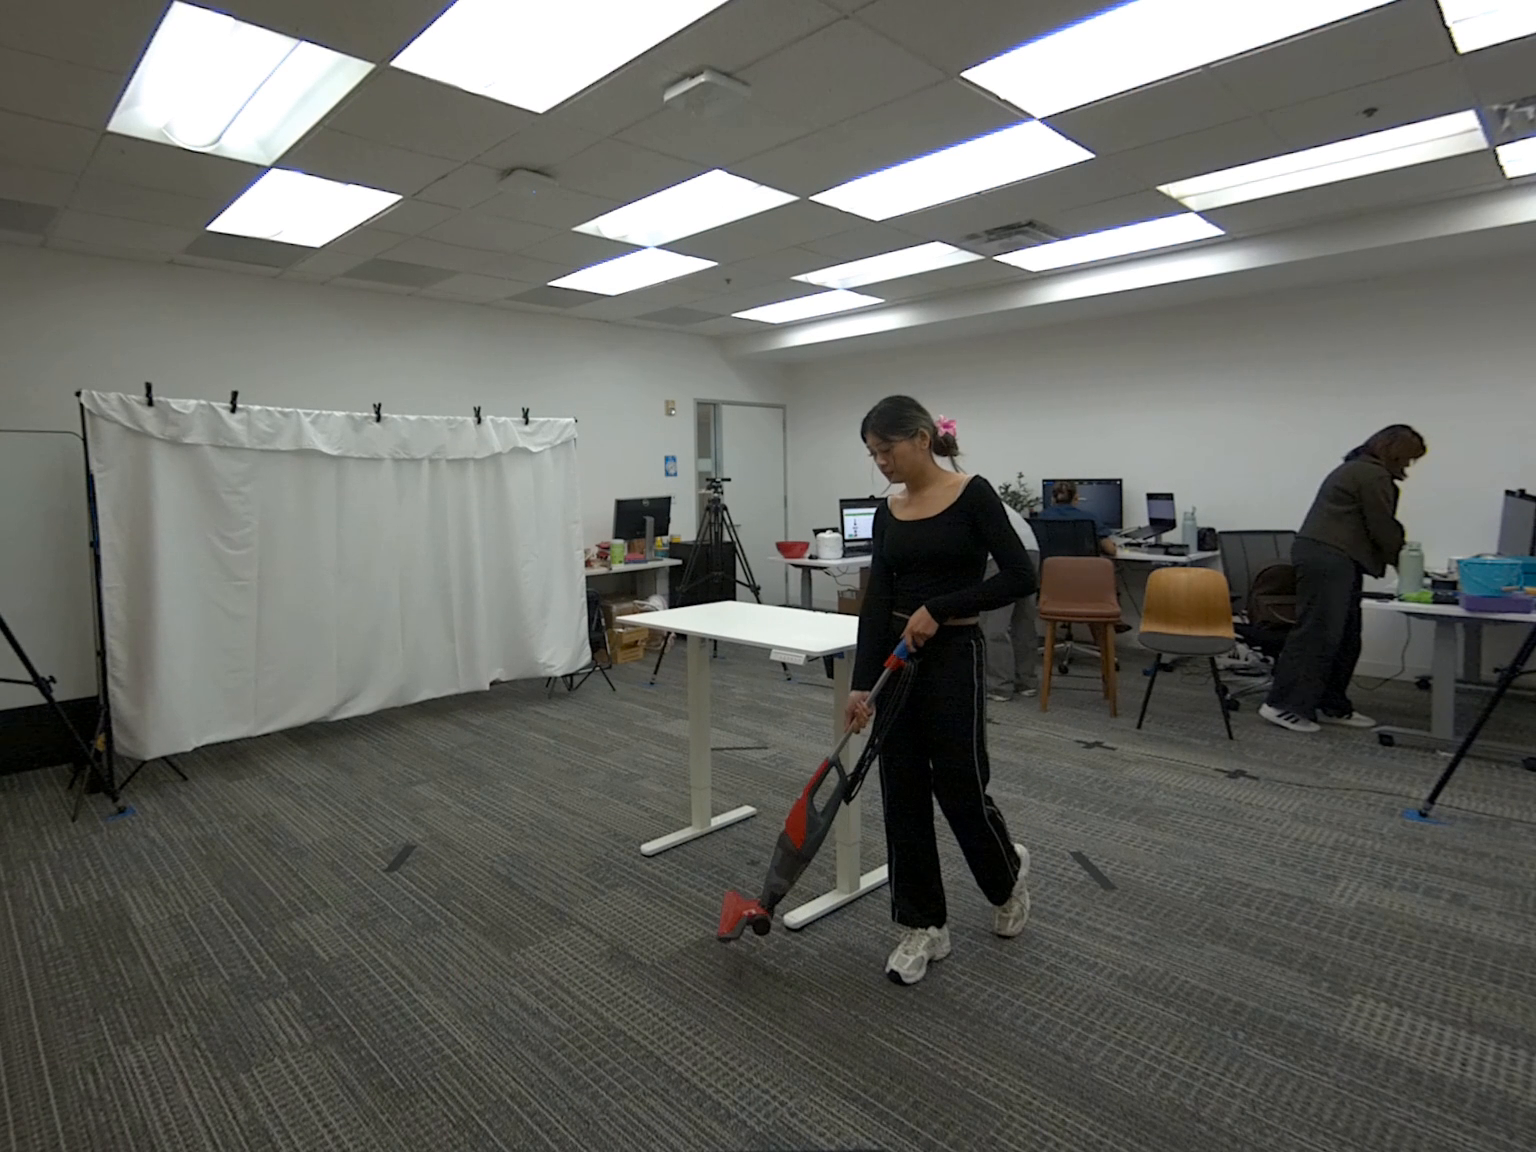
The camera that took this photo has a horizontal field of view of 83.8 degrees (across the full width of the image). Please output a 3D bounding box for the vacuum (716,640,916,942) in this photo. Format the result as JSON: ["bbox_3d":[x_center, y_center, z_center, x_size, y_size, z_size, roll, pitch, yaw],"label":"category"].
[{"bbox_3d":[0.212,0.534,2.330,0.145,1.046,0.252,32,9,3],"label":"vacuum"}]
